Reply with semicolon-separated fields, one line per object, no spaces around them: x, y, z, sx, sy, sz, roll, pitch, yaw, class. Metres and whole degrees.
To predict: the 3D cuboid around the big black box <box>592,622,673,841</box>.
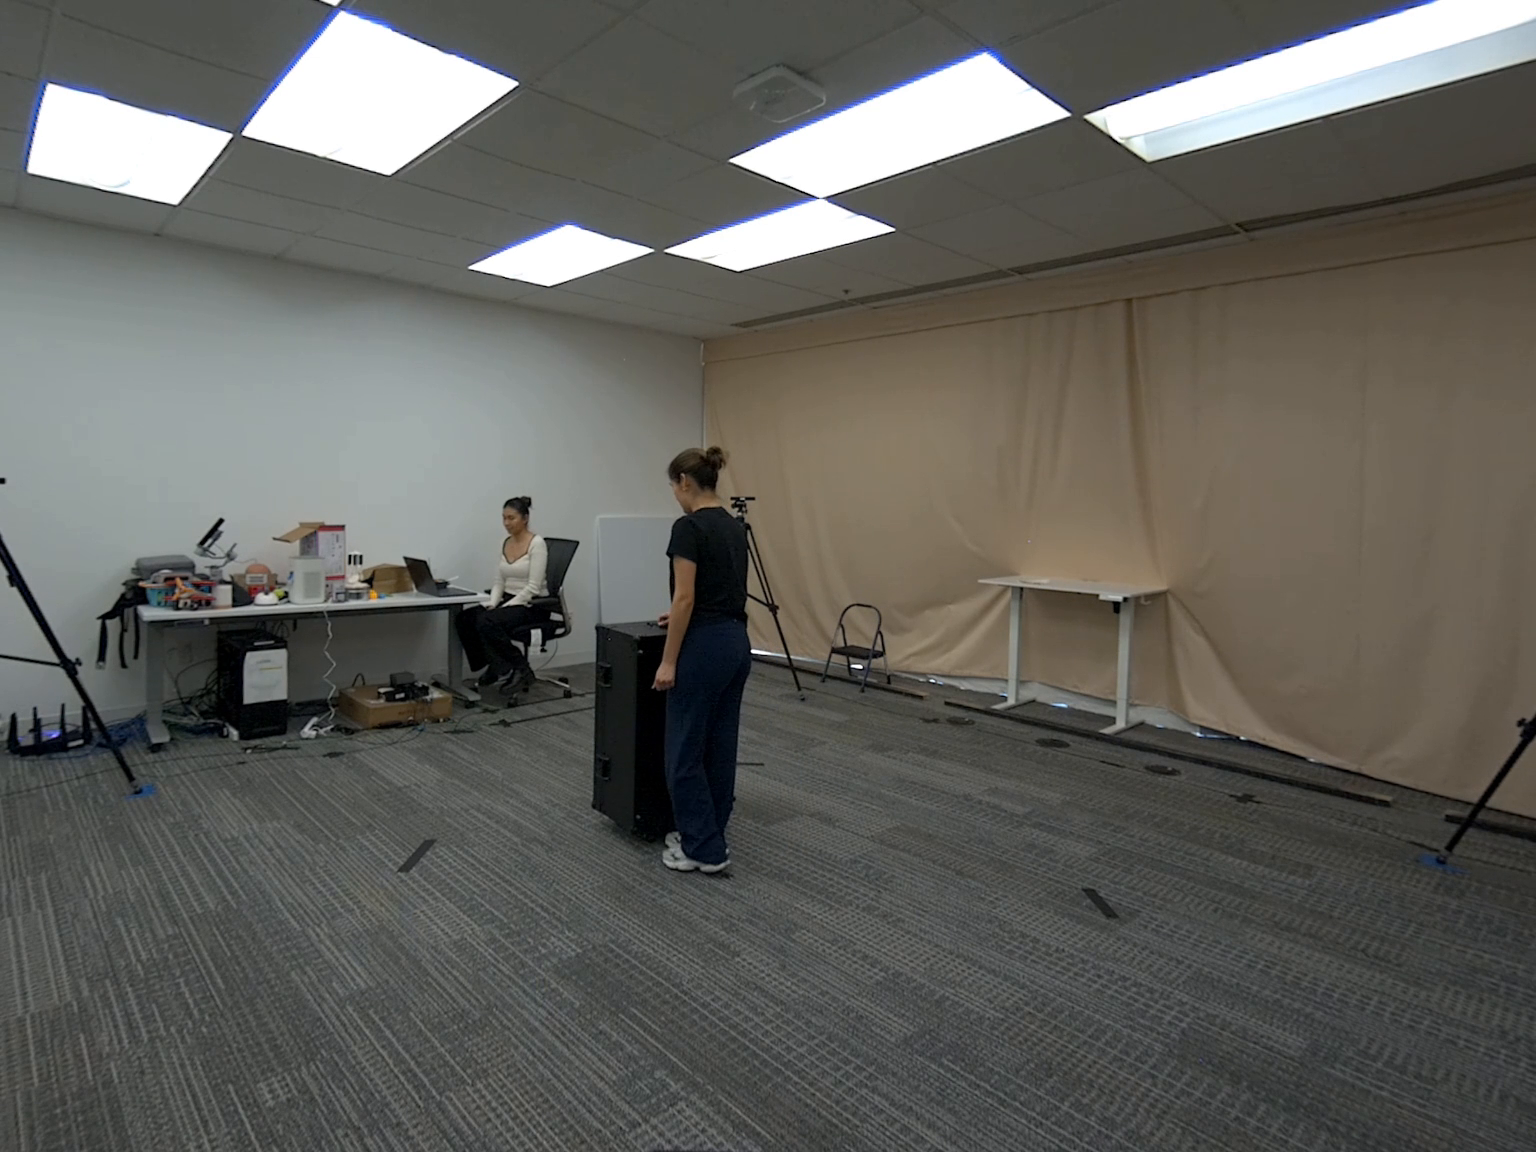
-0.432;0.578;3.515;0.509;0.859;0.406;-1;4;-37;big black box
